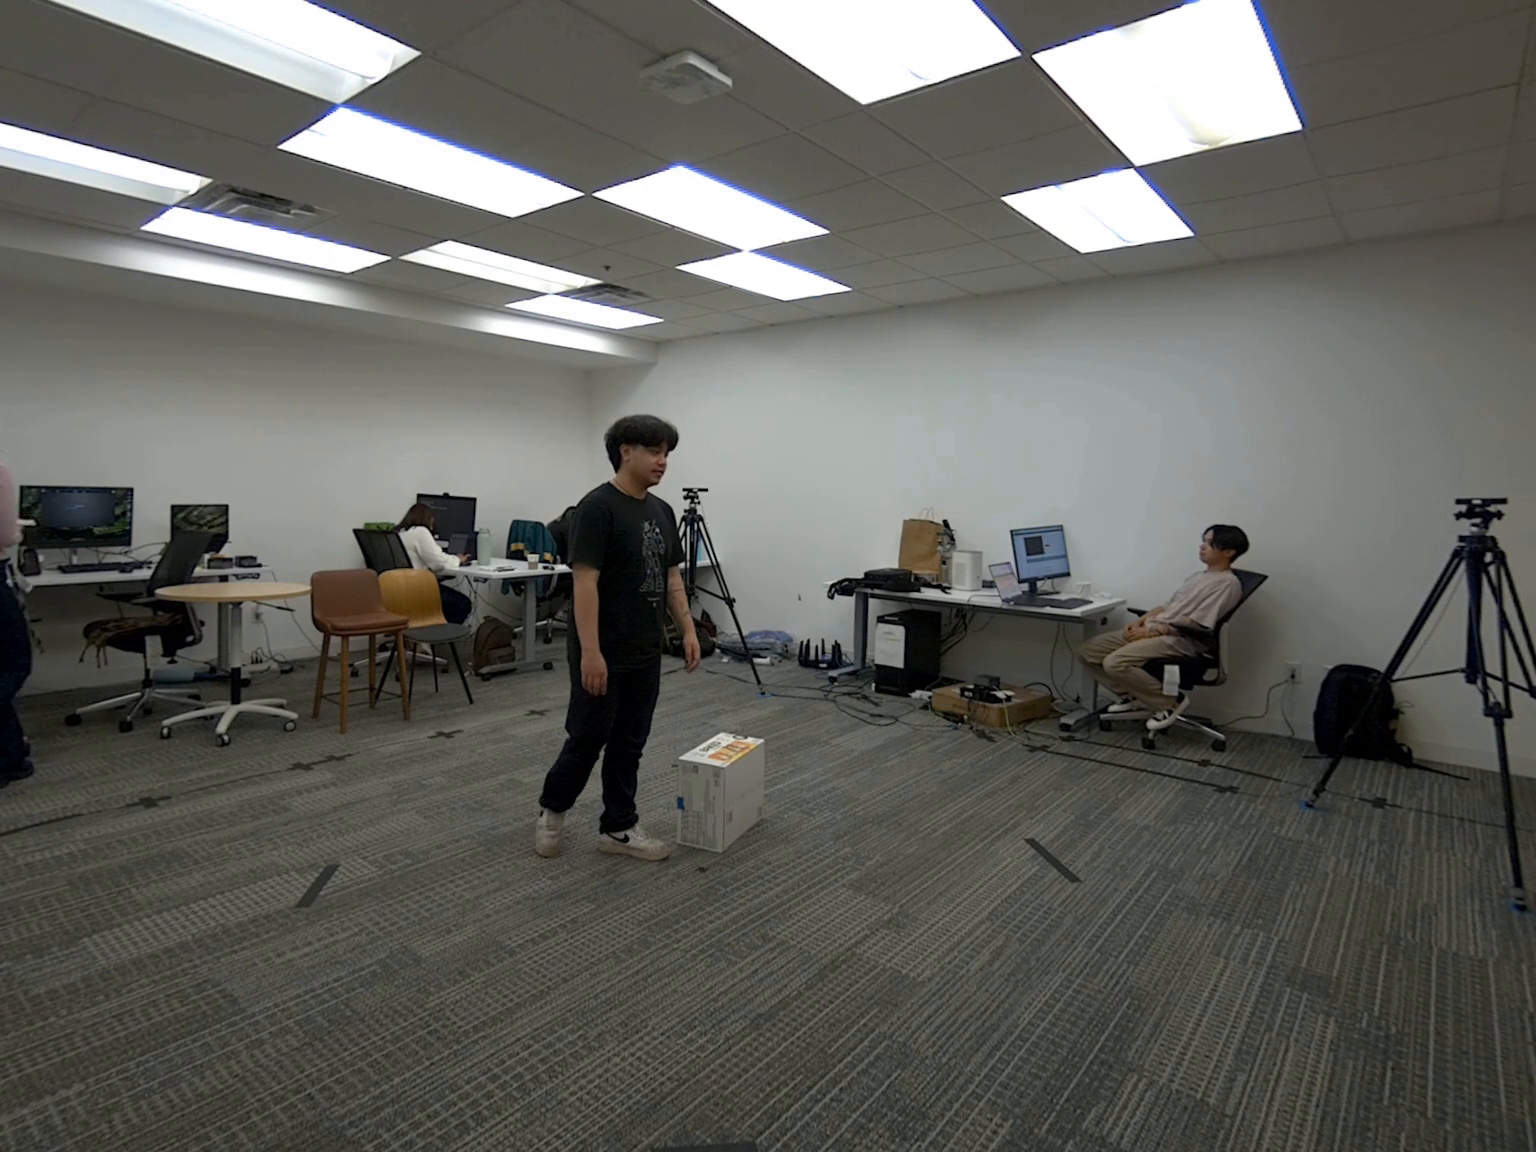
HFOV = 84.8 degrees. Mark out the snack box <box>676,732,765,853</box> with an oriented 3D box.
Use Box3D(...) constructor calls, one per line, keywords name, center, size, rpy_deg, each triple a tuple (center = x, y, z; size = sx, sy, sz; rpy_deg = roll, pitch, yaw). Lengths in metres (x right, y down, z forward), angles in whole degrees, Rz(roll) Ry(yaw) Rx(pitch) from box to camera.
Box3D(name="snack box", center=(-0.193, 0.865, 3.461), size=(0.211, 0.339, 0.397), rpy_deg=(3, 5, 23))
